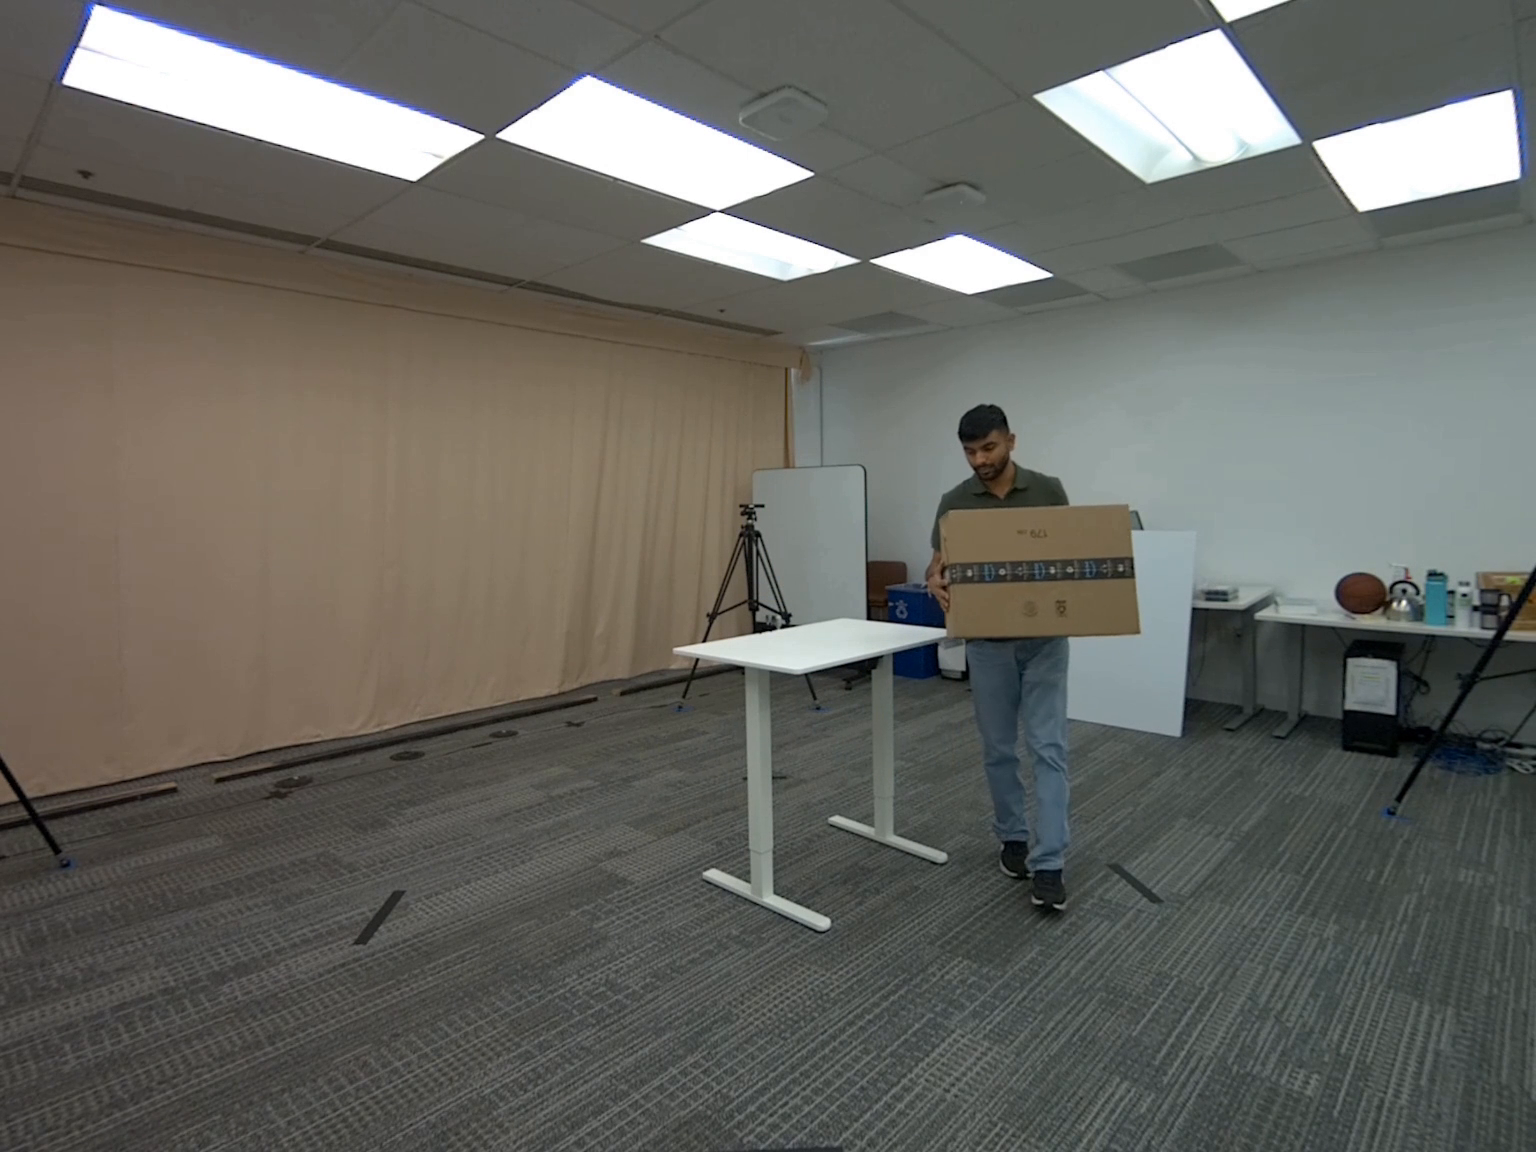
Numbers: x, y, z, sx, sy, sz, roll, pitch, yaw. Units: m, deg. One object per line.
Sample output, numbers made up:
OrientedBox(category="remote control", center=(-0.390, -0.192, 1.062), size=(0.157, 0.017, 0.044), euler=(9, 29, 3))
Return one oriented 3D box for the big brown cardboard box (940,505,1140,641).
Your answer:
OrientedBox(category="big brown cardboard box", center=(0.880, -0.003, 2.805), size=(0.593, 0.419, 0.230), euler=(-1, -5, 7))
